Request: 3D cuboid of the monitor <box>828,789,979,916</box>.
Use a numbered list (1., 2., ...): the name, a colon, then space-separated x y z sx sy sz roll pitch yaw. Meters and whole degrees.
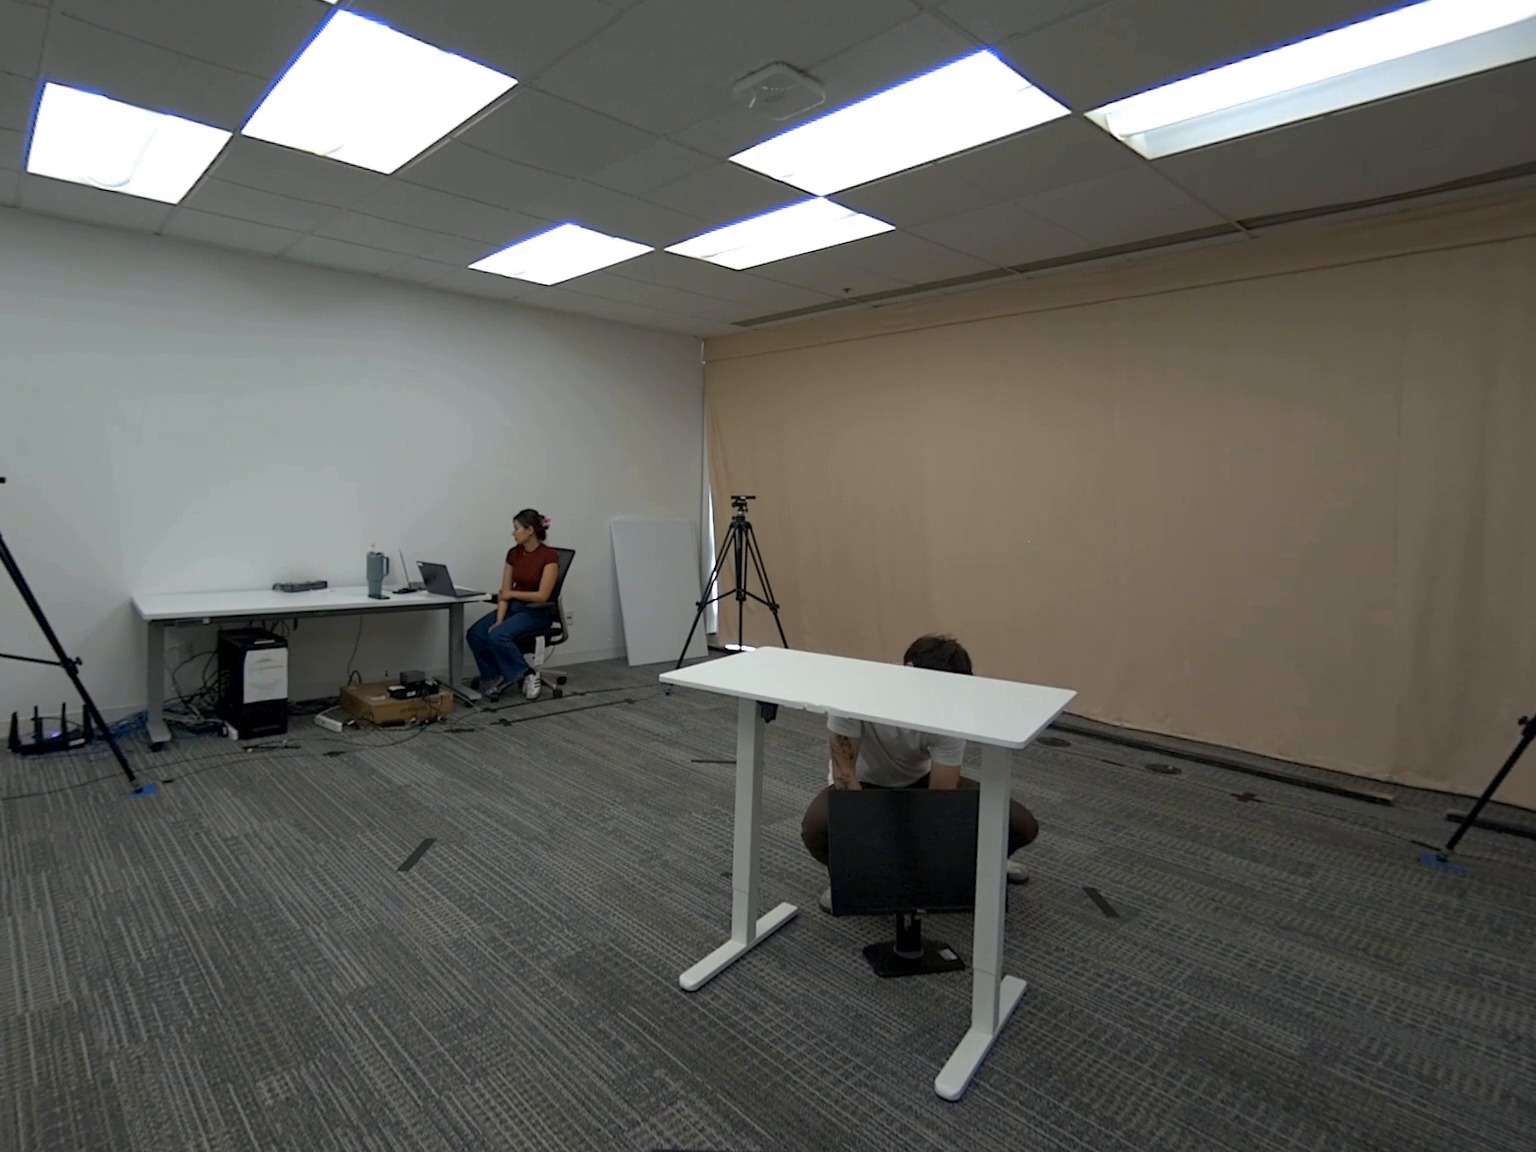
1. monitor: 0.431 0.916 2.552 0.535 0.522 0.188 0 2 -8
